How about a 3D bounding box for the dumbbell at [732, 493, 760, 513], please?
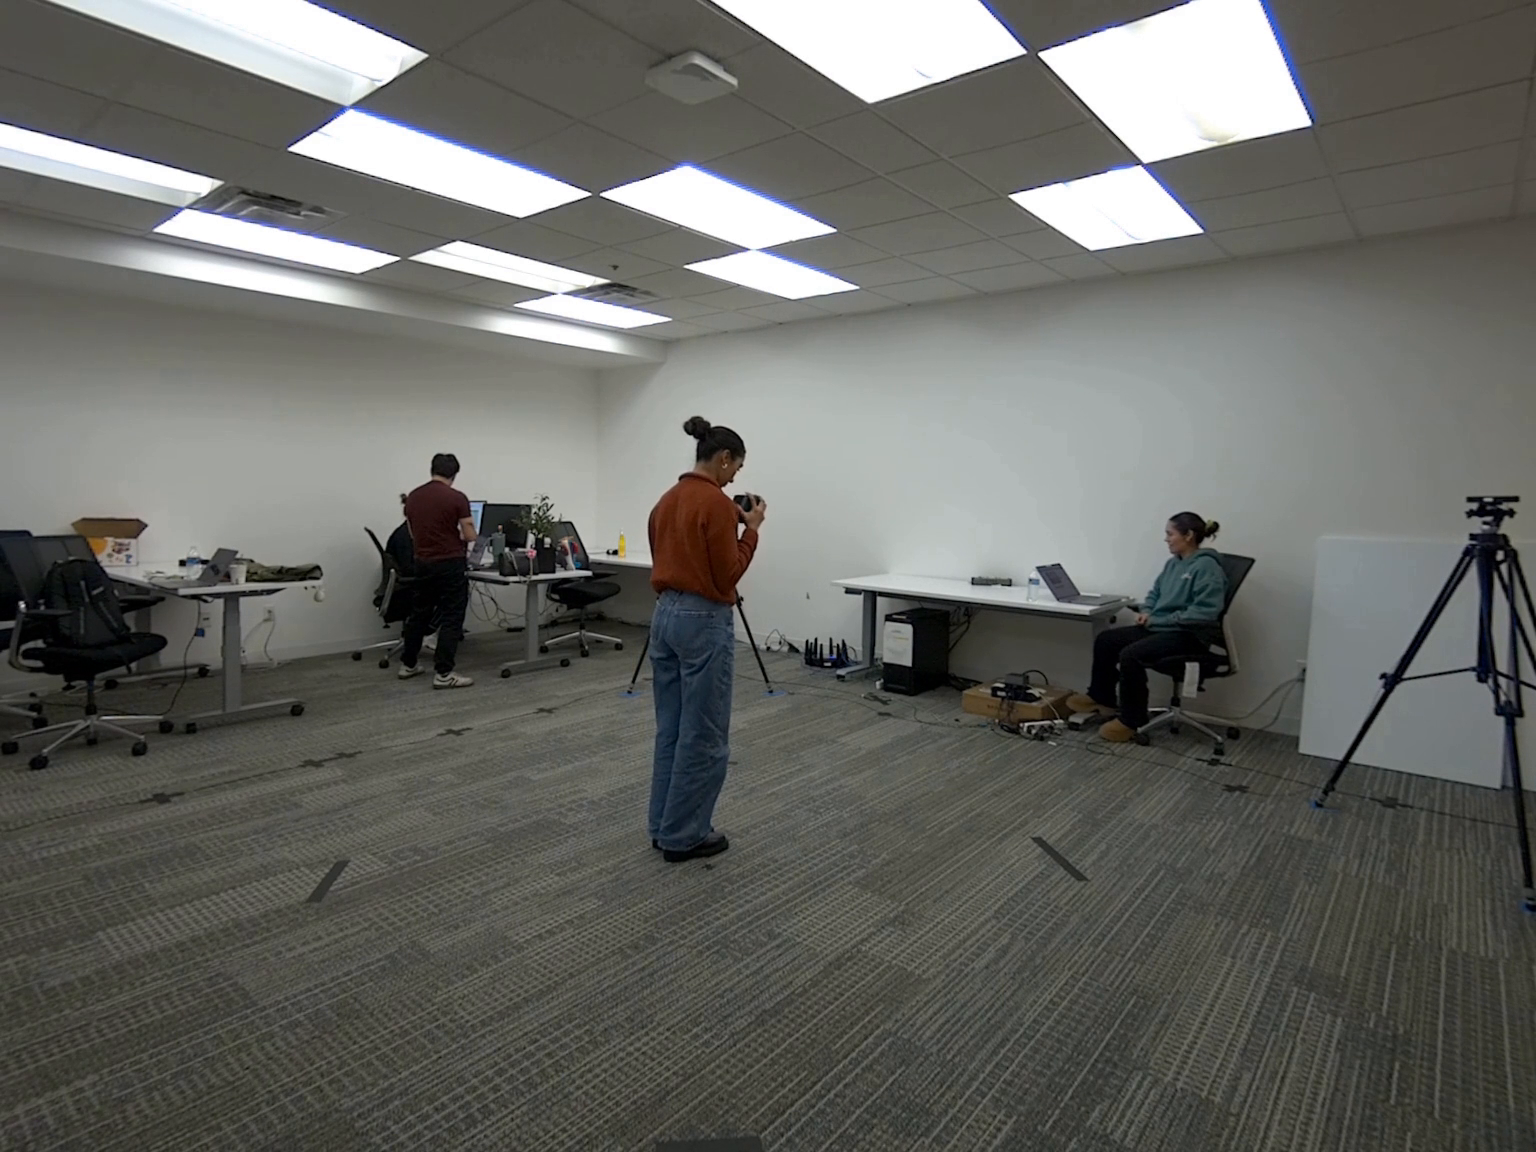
[{"bbox_3d":[-0.165,-0.254,3.305,0.104,0.124,0.303,34,-18,-35],"label":"dumbbell"}]
